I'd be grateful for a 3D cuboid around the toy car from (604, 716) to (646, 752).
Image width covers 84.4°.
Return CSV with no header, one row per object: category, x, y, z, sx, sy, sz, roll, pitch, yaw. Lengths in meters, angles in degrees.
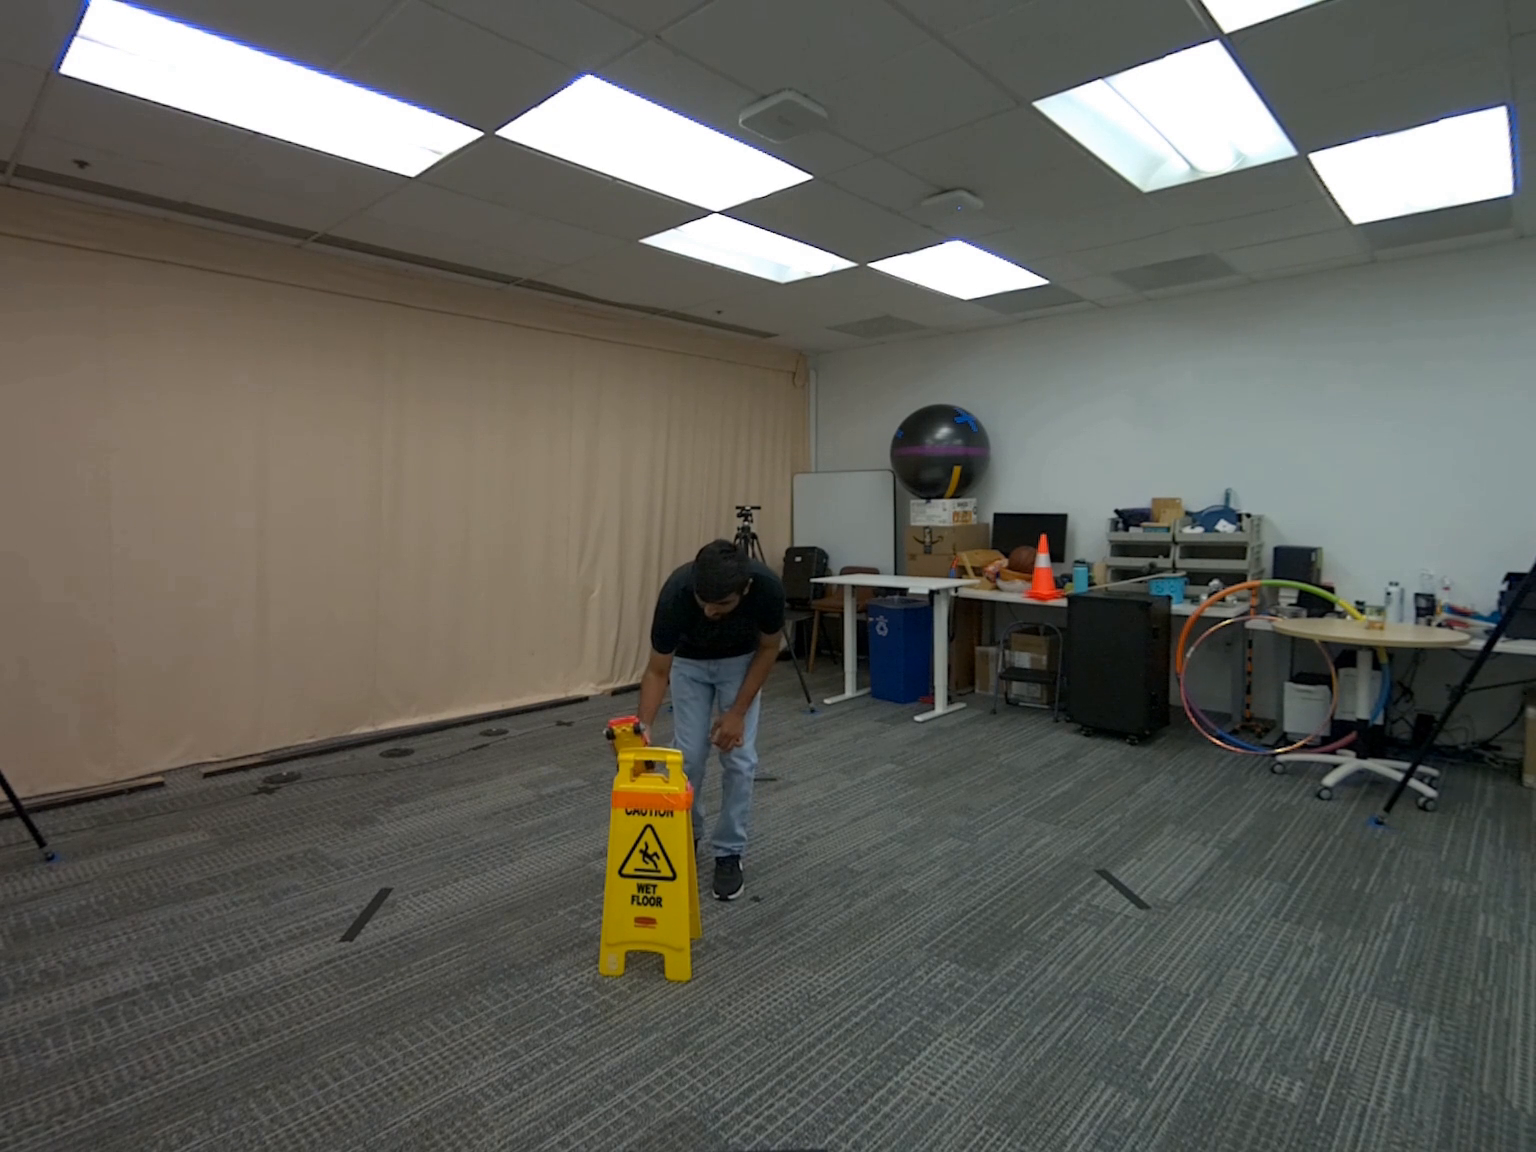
toy car,-0.424,0.553,2.621,0.131,0.248,0.085,-8,45,5
